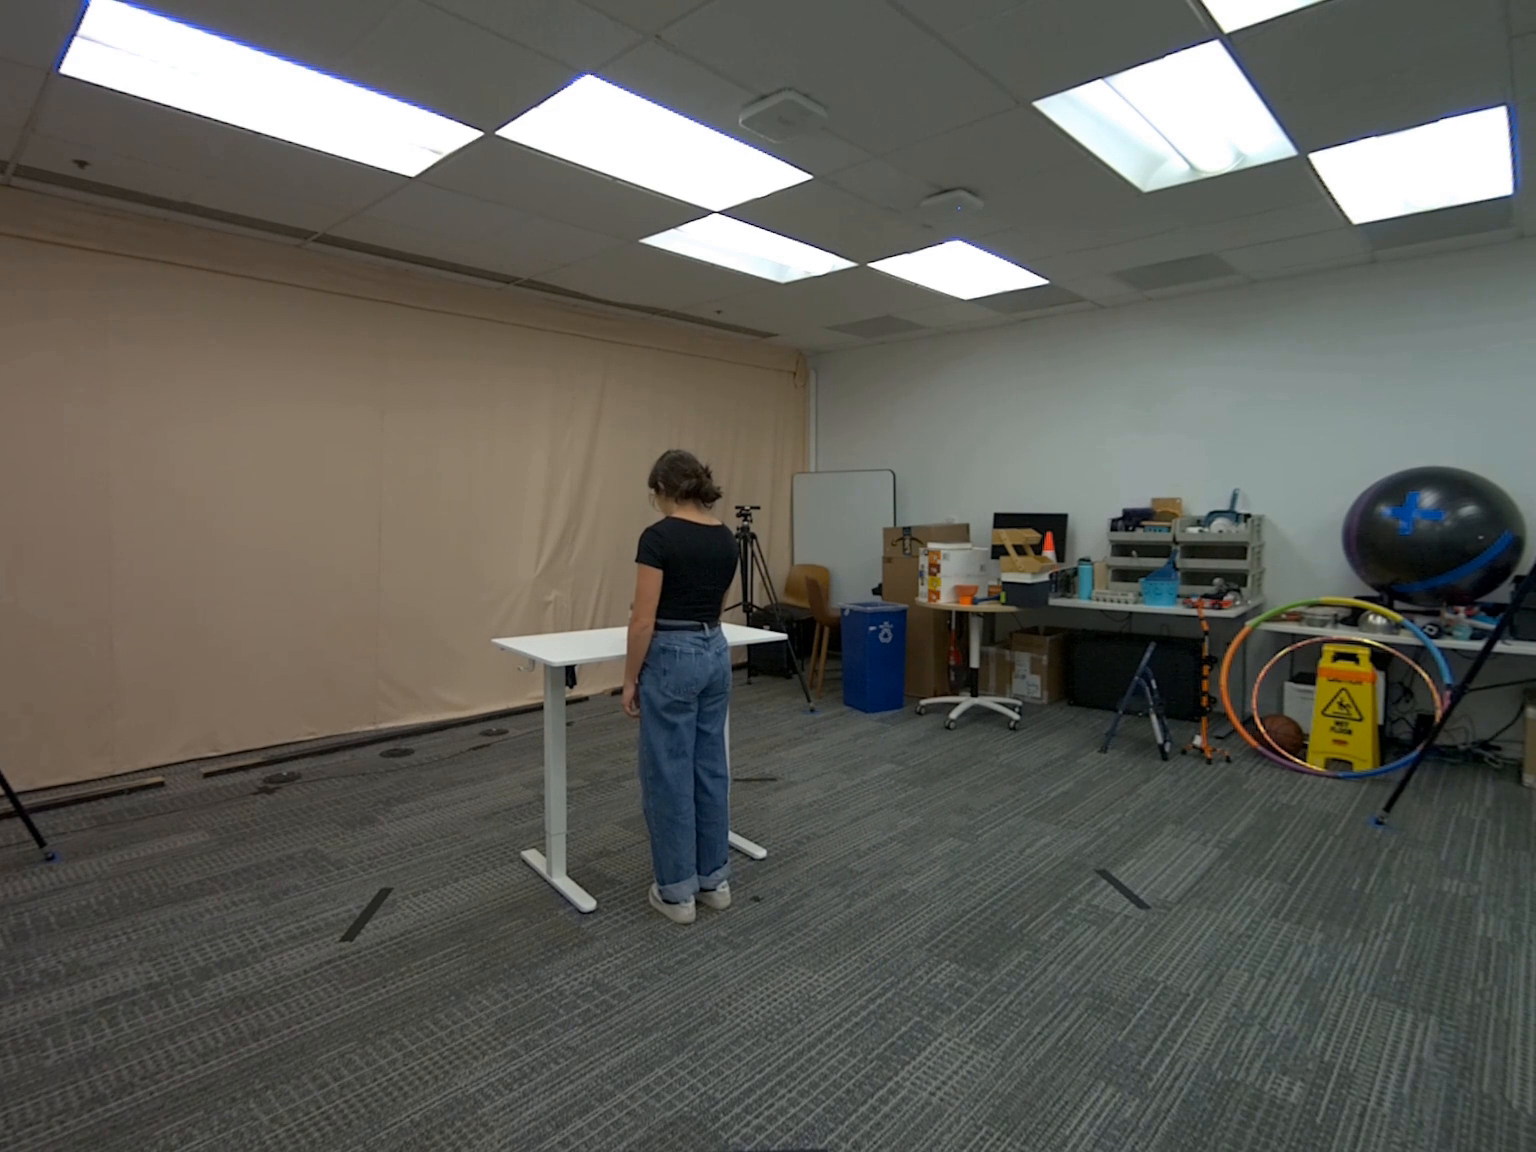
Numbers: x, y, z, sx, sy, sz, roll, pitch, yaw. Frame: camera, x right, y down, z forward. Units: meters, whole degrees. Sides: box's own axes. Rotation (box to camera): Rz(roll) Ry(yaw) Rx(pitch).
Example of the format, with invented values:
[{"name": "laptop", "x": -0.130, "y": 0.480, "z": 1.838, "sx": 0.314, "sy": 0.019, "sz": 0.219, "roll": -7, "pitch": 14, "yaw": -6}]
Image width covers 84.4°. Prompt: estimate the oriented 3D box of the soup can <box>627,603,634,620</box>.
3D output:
[{"name": "soup can", "x": -0.504, "y": 0.168, "z": 3.249, "sx": 0.067, "sy": 0.121, "sz": 0.067, "roll": 0, "pitch": 5, "yaw": -2}]
